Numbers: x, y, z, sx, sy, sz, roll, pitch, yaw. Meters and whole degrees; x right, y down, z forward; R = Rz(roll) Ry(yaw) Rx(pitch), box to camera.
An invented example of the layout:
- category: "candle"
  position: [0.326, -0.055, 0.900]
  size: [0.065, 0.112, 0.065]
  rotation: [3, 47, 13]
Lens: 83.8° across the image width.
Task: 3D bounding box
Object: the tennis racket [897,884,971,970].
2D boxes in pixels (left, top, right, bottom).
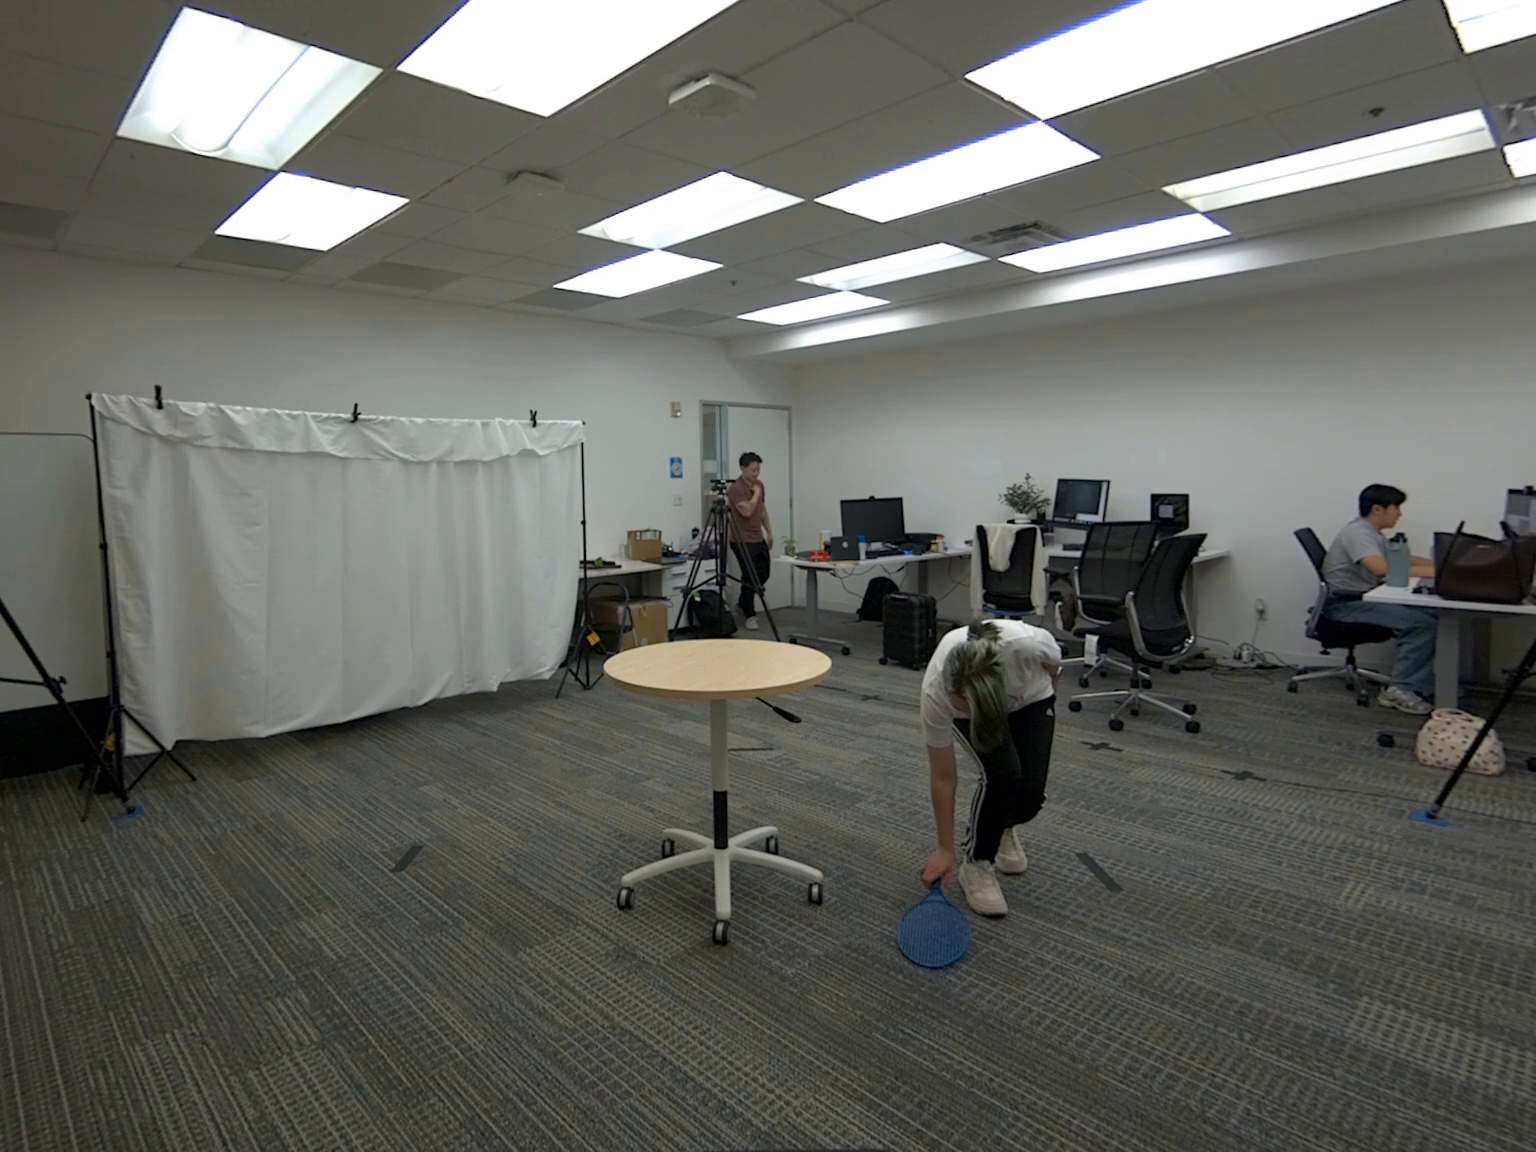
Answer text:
- category: "tennis racket"
  position: [0.513, 1.030, 2.613]
  size: [0.217, 0.031, 0.434]
  rotation: [-6, 20, 16]
